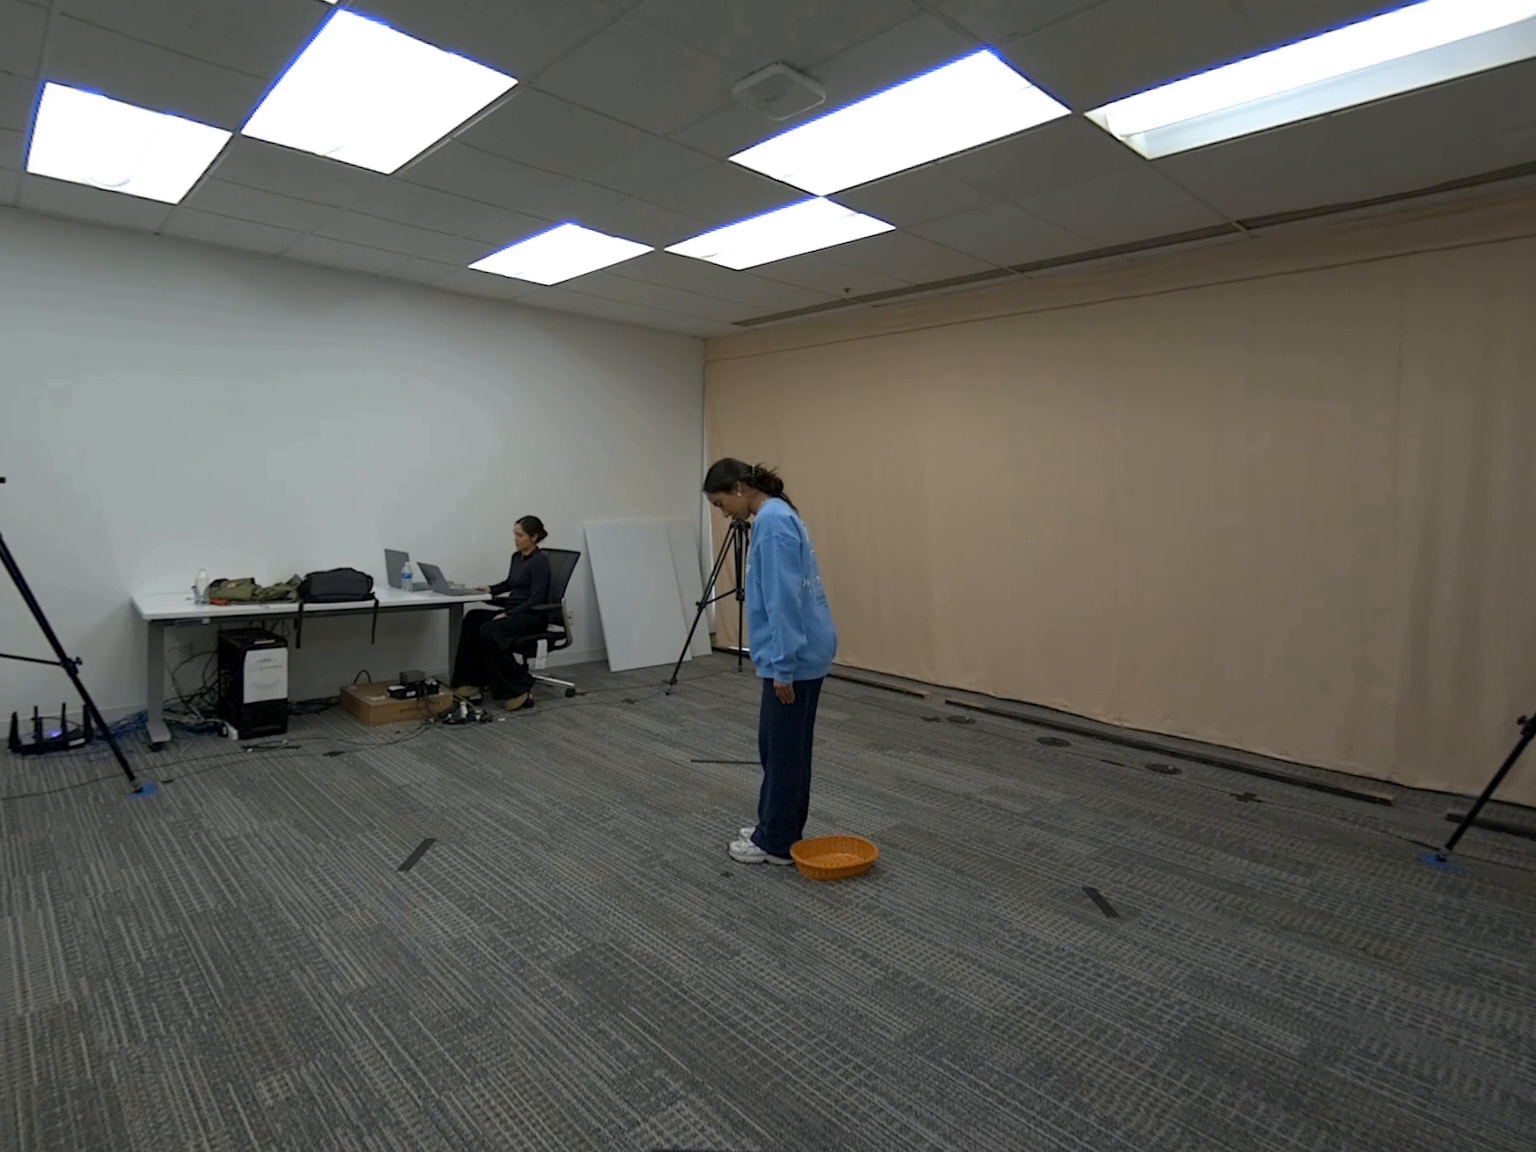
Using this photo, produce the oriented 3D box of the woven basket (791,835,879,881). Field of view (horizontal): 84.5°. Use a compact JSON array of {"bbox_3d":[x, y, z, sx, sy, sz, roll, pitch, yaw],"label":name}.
[{"bbox_3d":[0.240,1.065,3.181,0.344,0.073,0.257,-1,6,-24],"label":"woven basket"}]
